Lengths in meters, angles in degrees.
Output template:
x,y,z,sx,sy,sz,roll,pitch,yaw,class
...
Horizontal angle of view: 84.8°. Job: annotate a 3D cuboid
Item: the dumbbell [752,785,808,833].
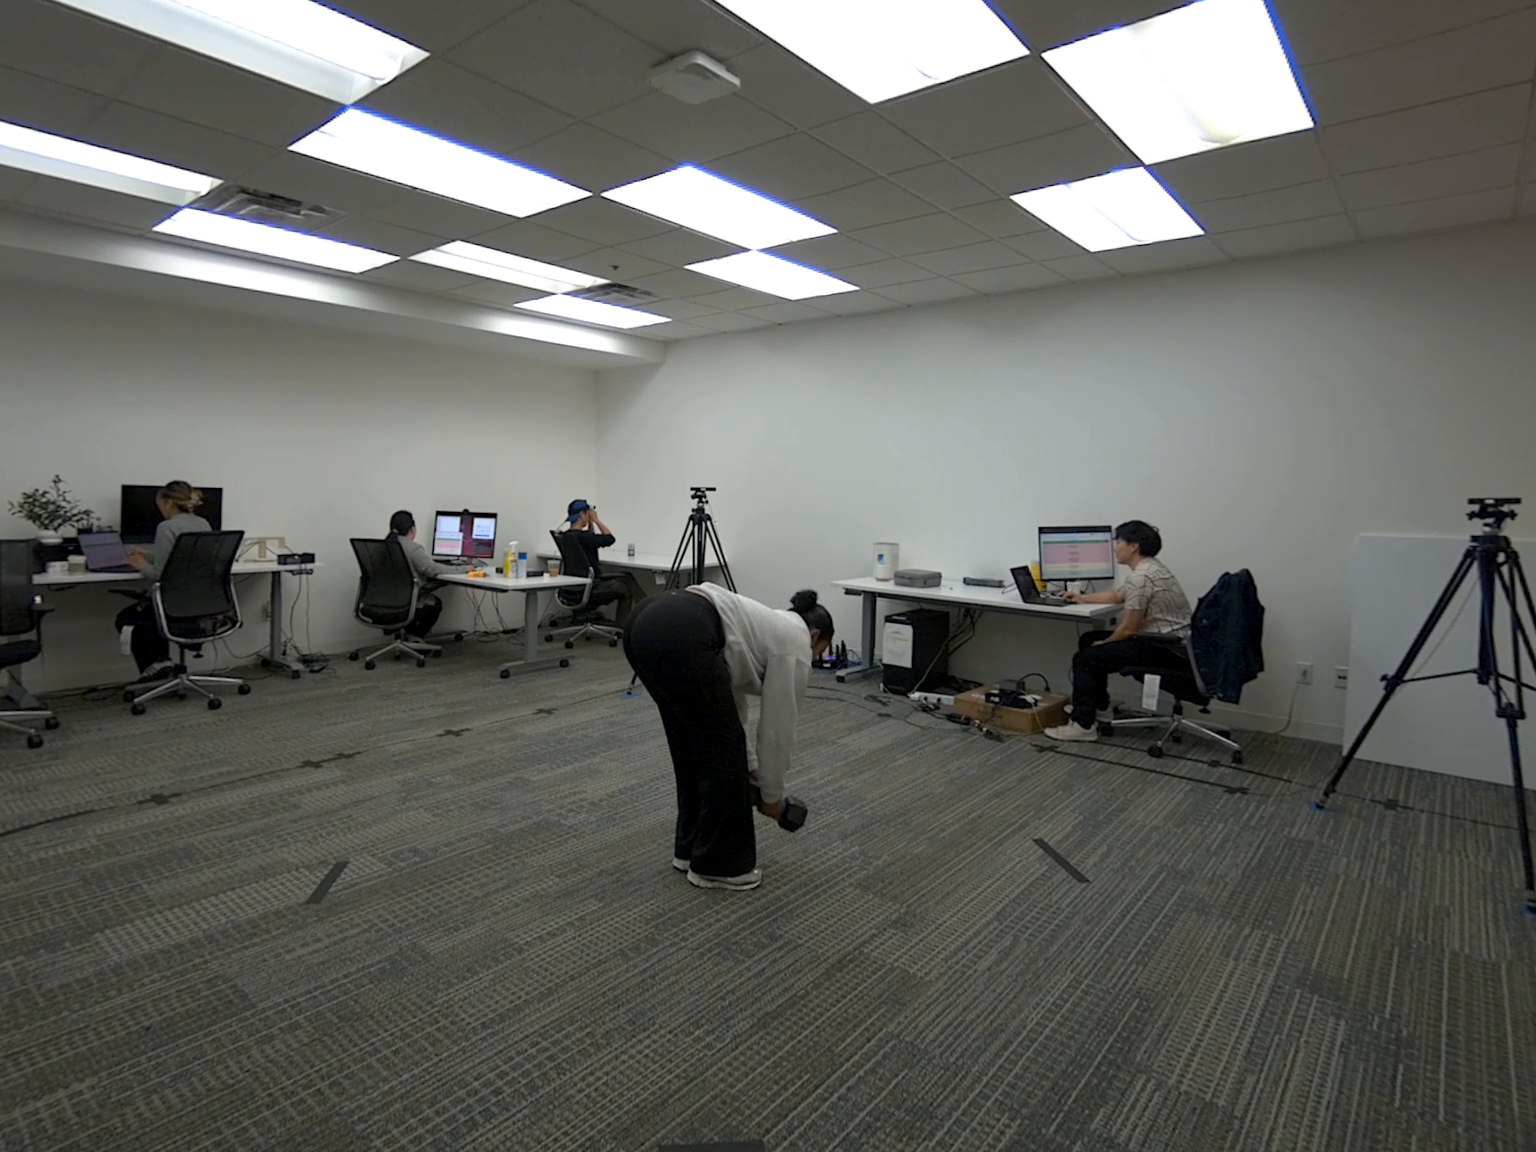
x,y,z,sx,sy,sz,roll,pitch,yaw,class
-0.003,0.842,3.140,0.288,0.121,0.112,16,38,-14,dumbbell
